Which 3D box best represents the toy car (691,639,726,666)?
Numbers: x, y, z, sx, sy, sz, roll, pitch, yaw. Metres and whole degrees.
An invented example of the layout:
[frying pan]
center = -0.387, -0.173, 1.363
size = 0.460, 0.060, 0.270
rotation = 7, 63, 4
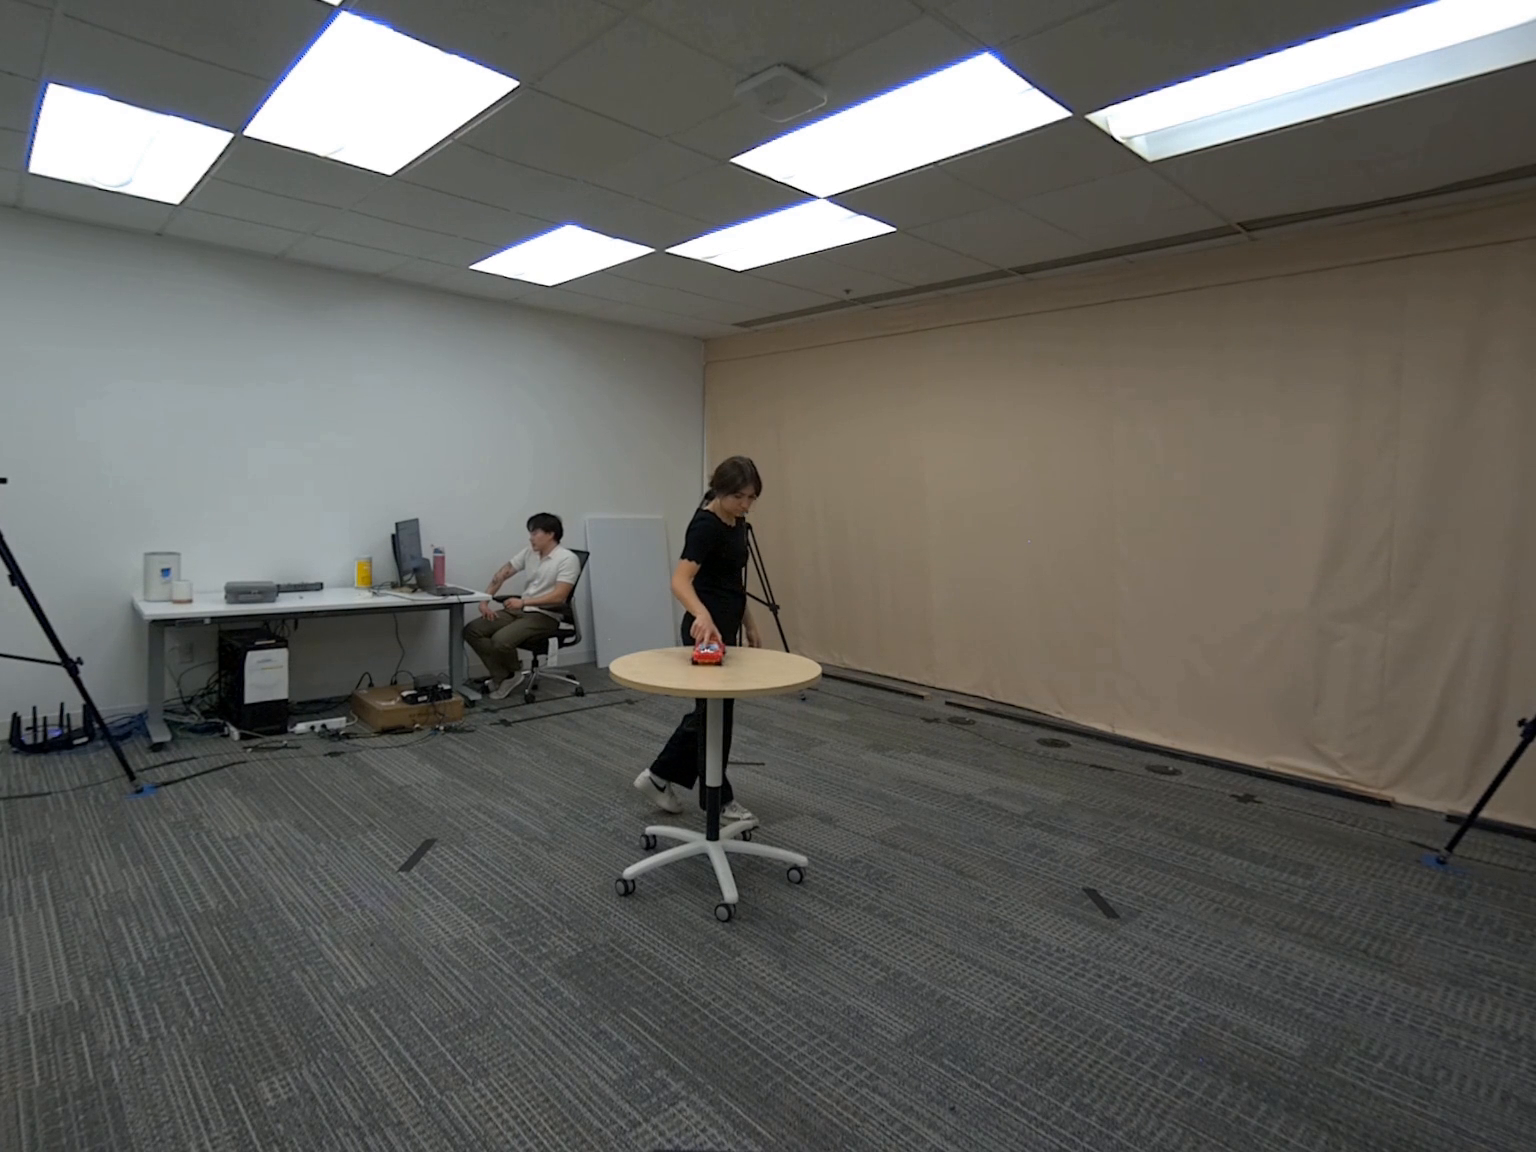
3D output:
[toy car]
center = -0.235, 0.282, 3.154
size = 0.130, 0.082, 0.257
rotation = 1, 18, 1
